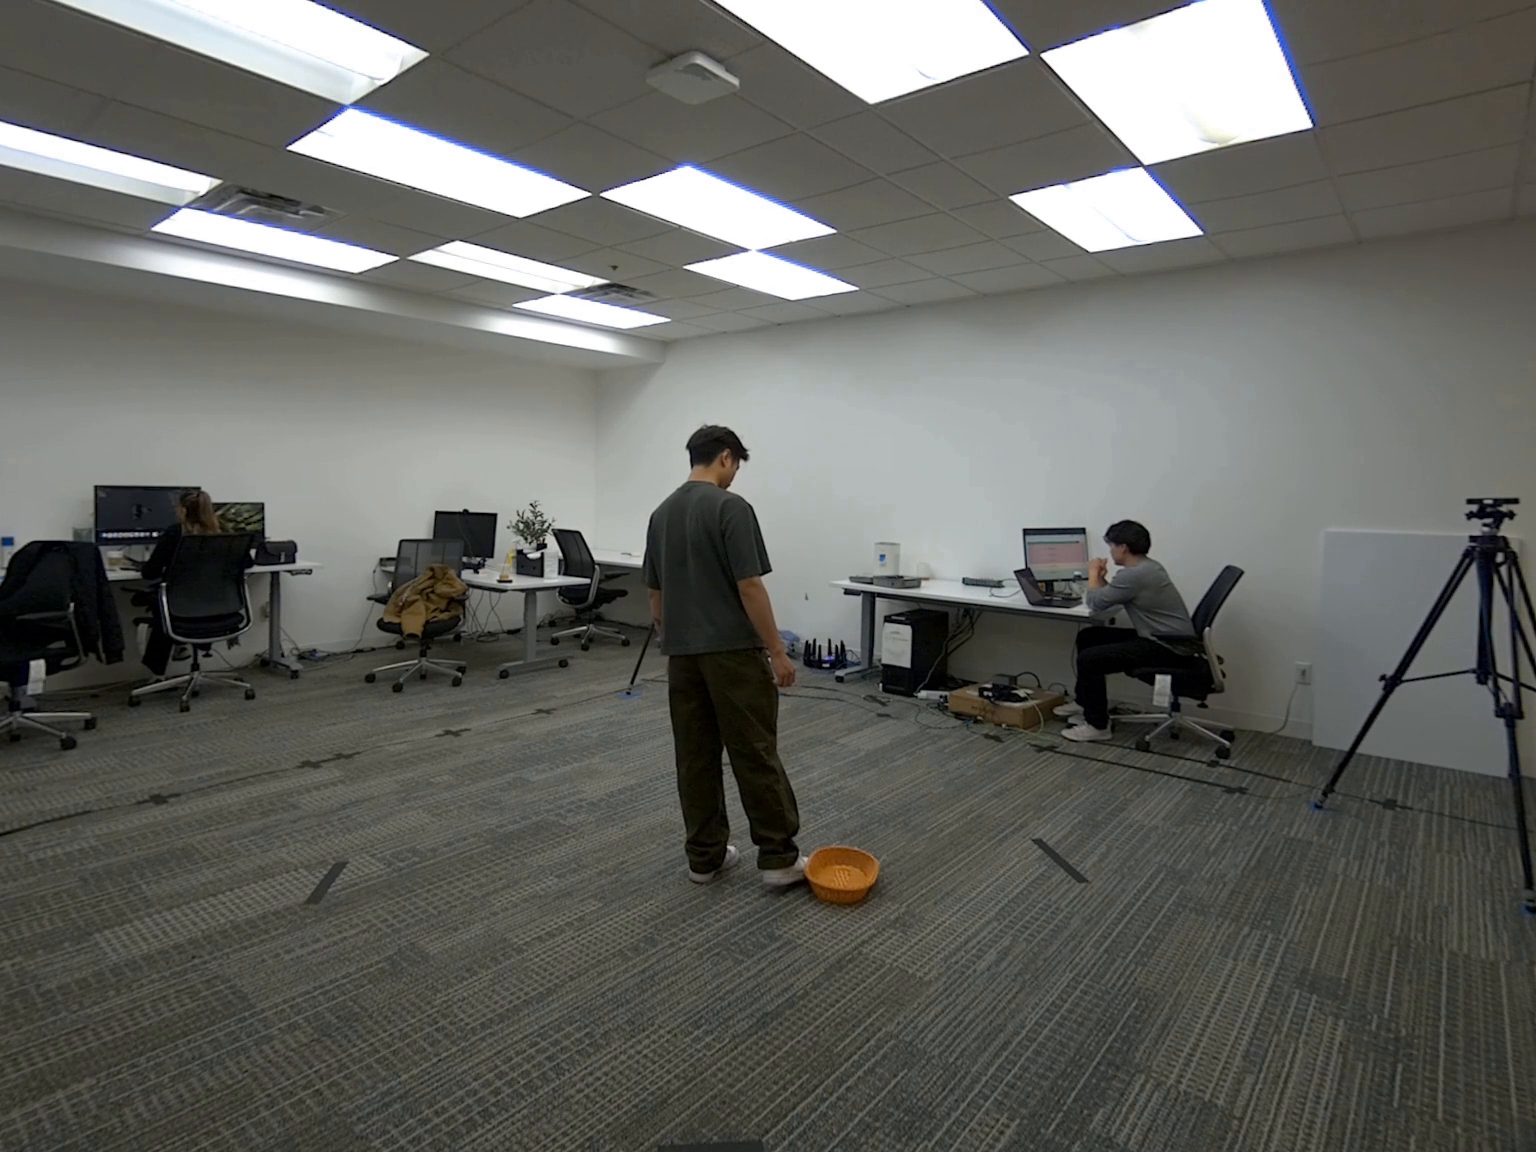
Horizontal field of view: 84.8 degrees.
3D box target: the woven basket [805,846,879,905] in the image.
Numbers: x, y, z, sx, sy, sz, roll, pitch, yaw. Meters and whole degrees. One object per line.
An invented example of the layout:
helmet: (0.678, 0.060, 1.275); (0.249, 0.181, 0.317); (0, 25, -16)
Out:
woven basket: (0.253, 1.051, 2.991); (0.258, 0.073, 0.345); (4, 6, 18)
